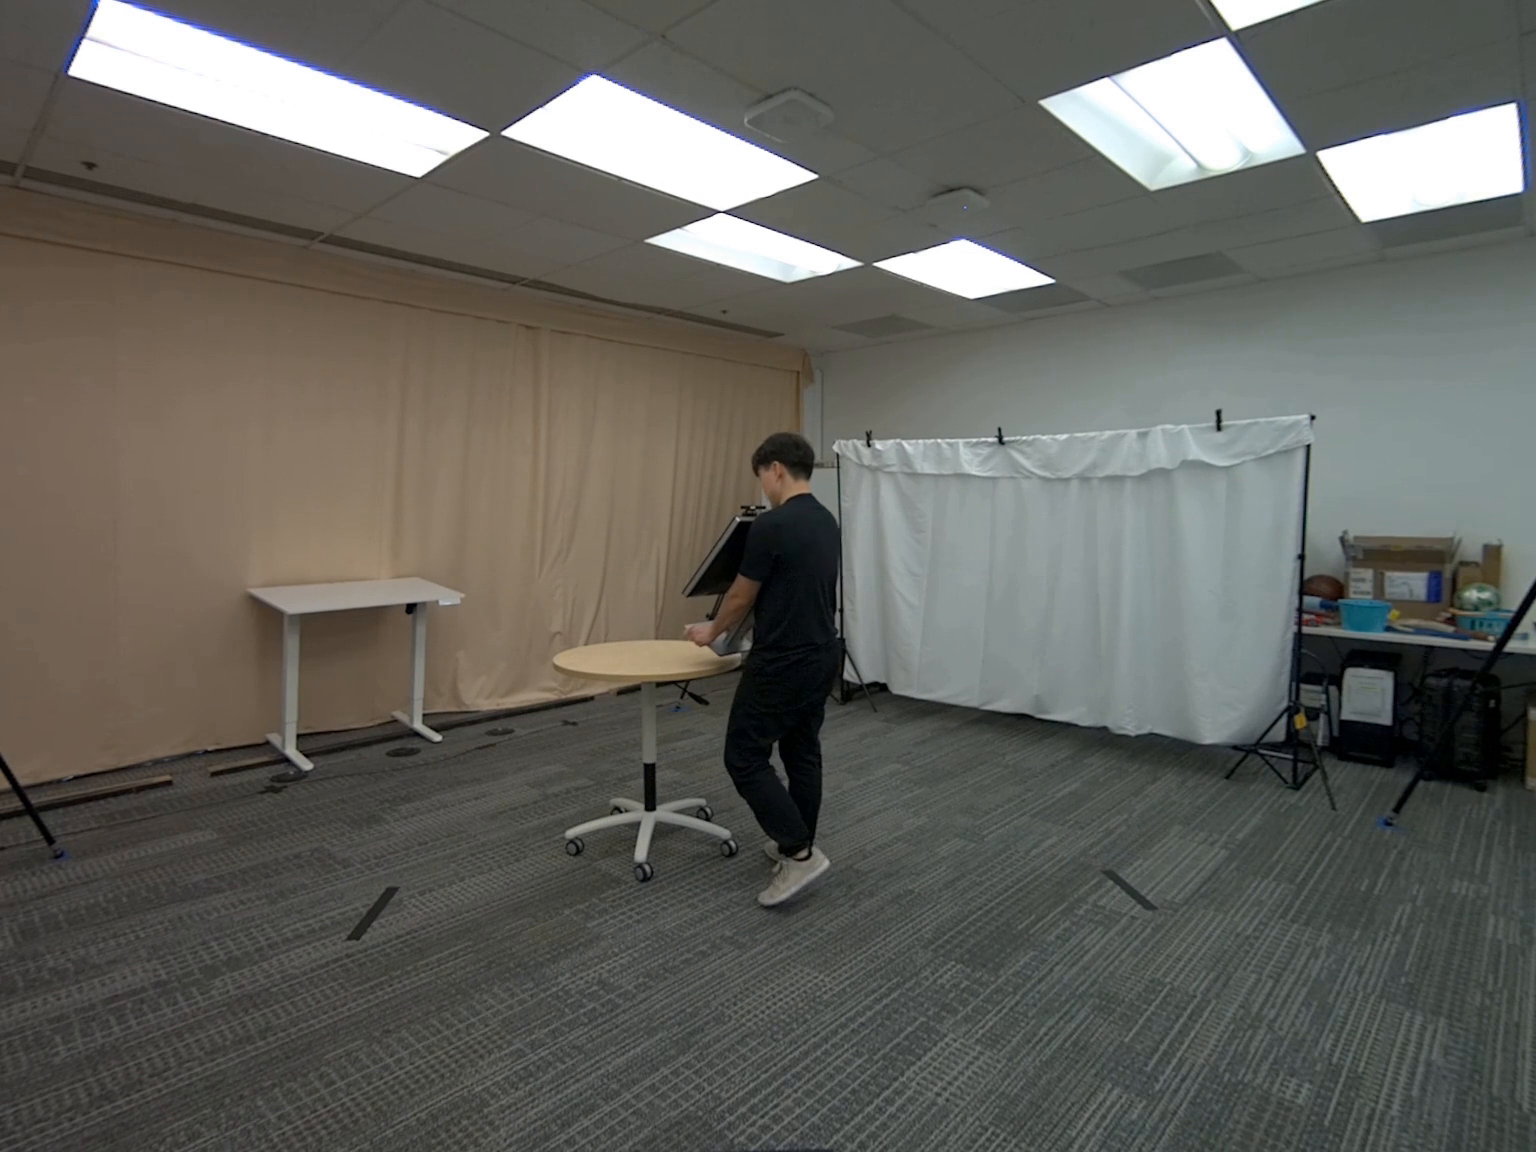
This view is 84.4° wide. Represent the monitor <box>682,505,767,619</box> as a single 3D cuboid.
[{"bbox_3d":[-0.077,0.014,3.199,0.192,0.521,0.524,34,19,25],"label":"monitor"}]
